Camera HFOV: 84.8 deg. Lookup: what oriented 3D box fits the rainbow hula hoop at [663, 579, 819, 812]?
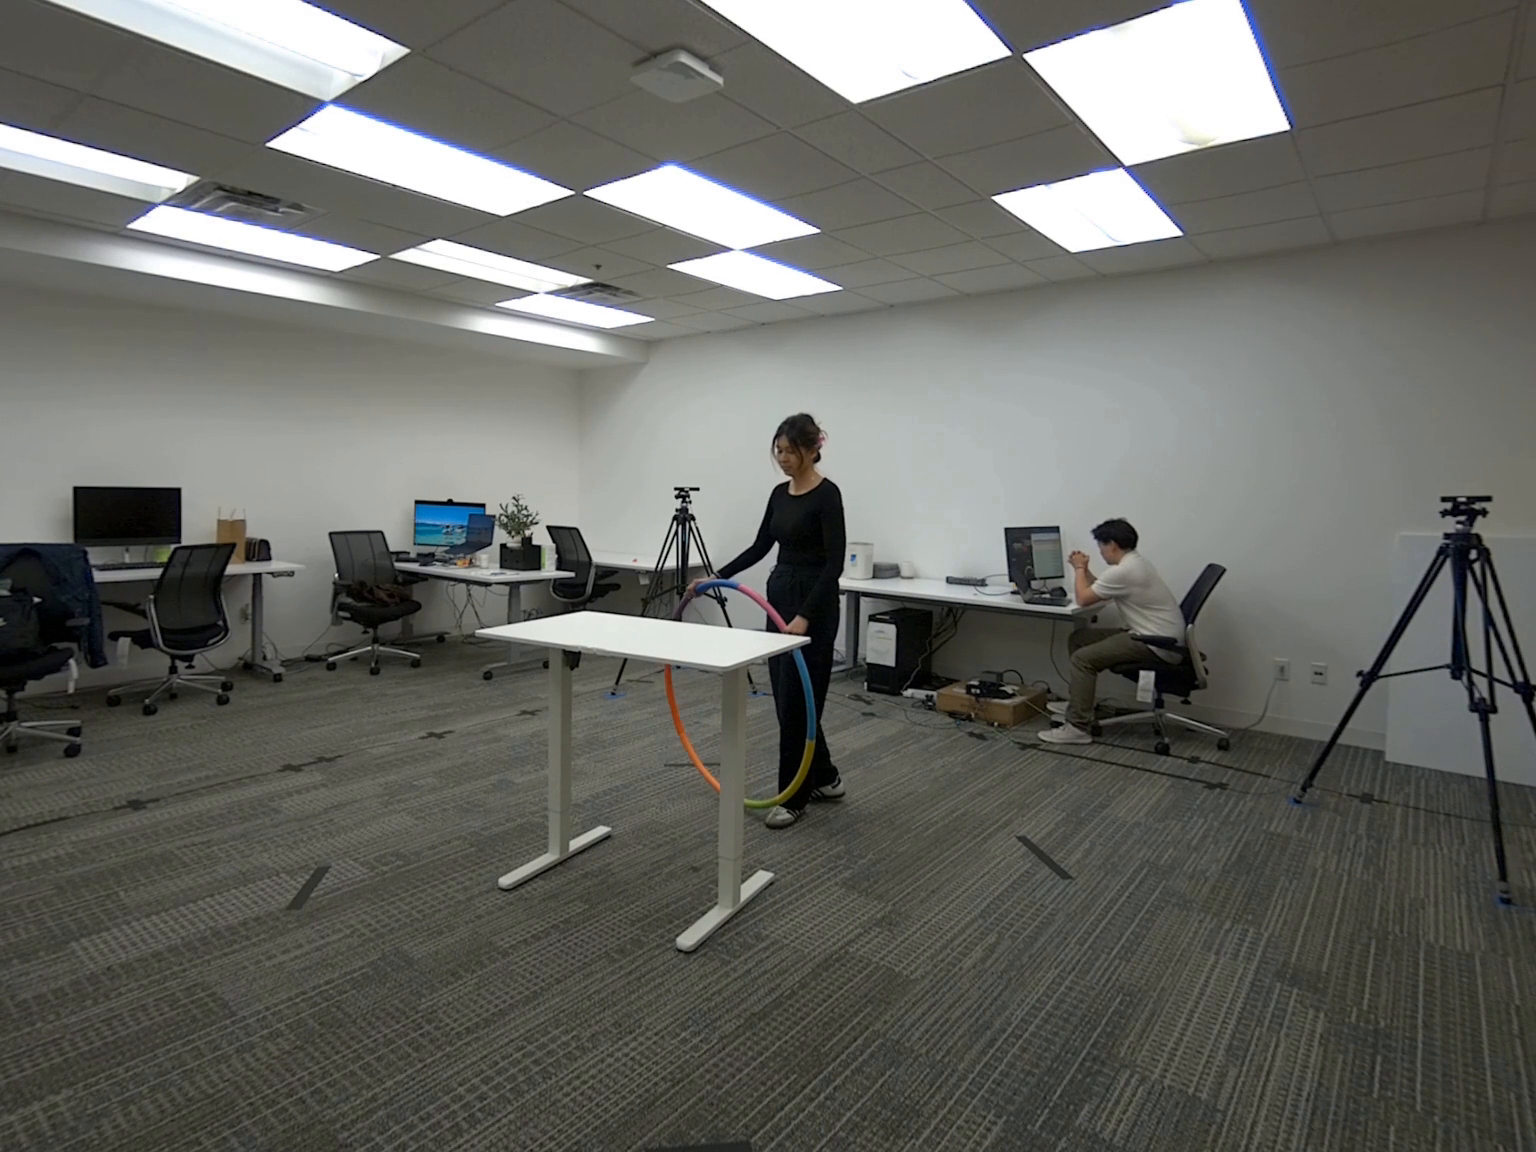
[{"bbox_3d":[-0.171,0.503,3.659,0.034,0.972,1.012,-8,9,-40],"label":"rainbow hula hoop"}]
